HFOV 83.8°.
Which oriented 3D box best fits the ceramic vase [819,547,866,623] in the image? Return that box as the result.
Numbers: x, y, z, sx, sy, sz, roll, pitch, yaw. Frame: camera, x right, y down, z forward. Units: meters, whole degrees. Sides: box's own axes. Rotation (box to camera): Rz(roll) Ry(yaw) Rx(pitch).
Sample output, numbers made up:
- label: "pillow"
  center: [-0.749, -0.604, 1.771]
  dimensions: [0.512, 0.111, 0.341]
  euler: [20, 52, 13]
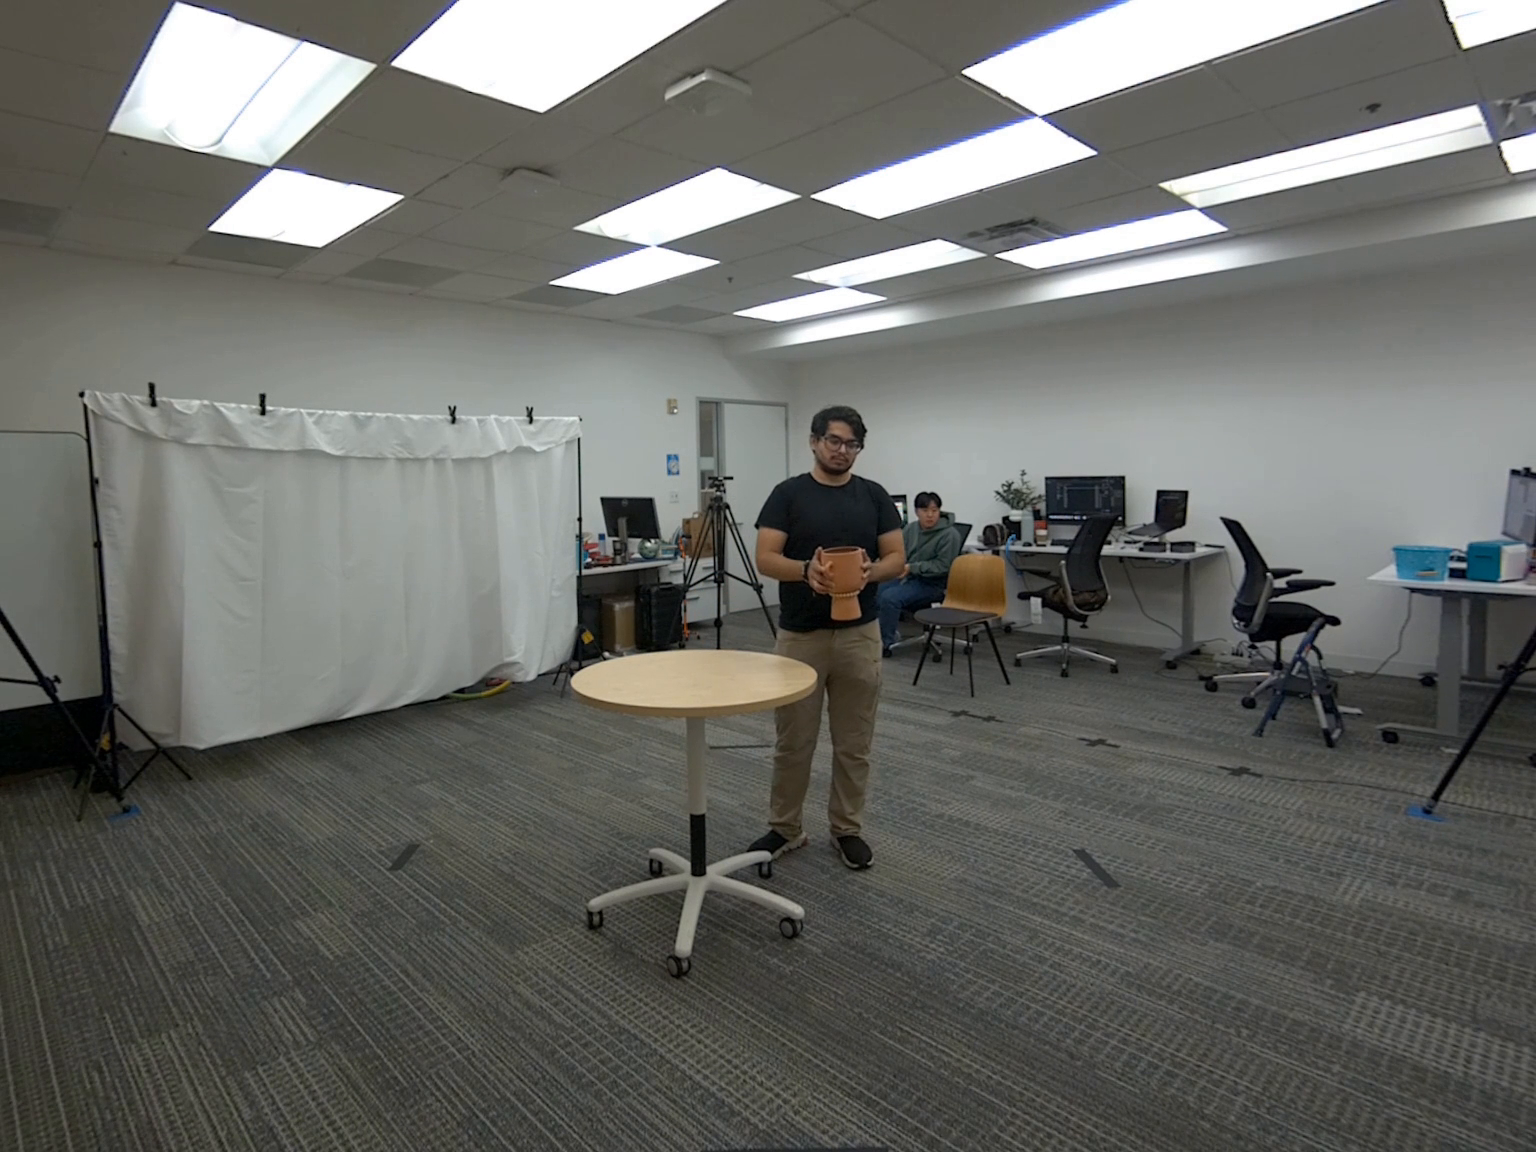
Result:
- label: "ceramic vase"
  center: [0.244, 0.030, 2.772]
  dimensions: [0.157, 0.218, 0.137]
  euler: [-10, 9, -15]
